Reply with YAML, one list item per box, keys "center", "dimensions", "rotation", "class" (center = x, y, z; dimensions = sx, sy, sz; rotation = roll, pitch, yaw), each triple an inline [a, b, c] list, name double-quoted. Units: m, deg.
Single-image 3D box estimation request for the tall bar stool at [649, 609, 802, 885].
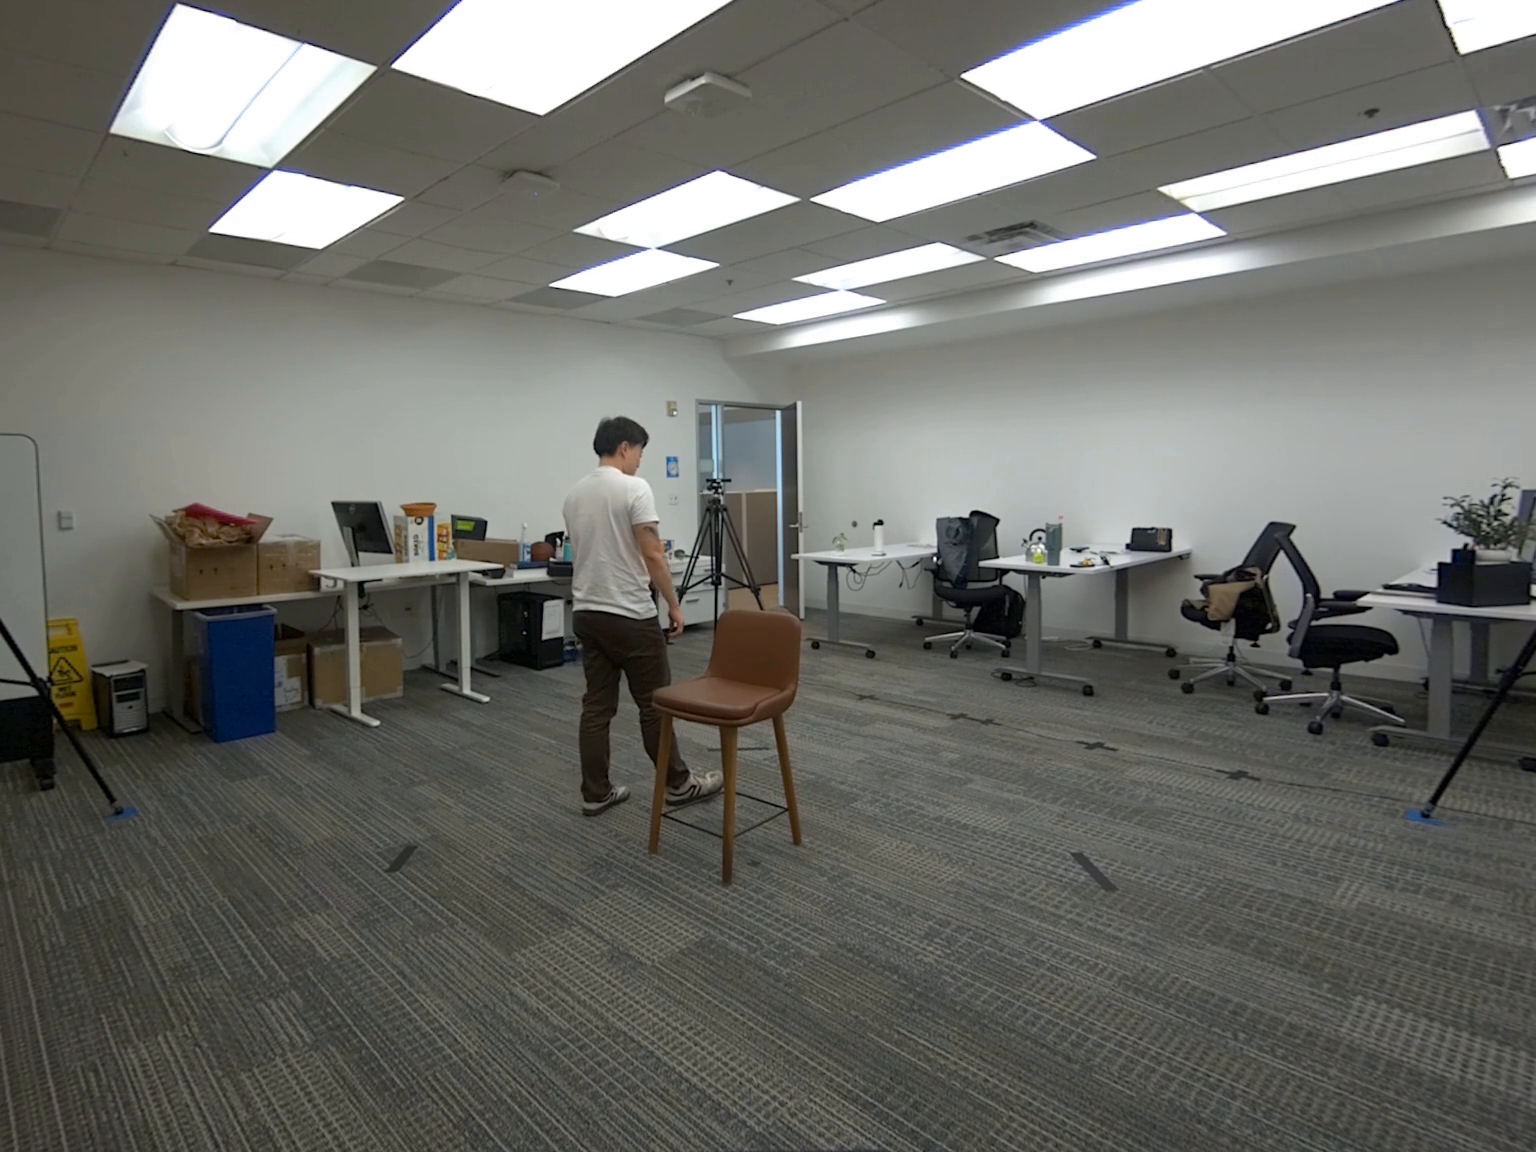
- center: [-0.153, 0.597, 3.212]
  dimensions: [0.470, 0.888, 0.455]
  rotation: [3, 3, 41]
  class: "tall bar stool"
